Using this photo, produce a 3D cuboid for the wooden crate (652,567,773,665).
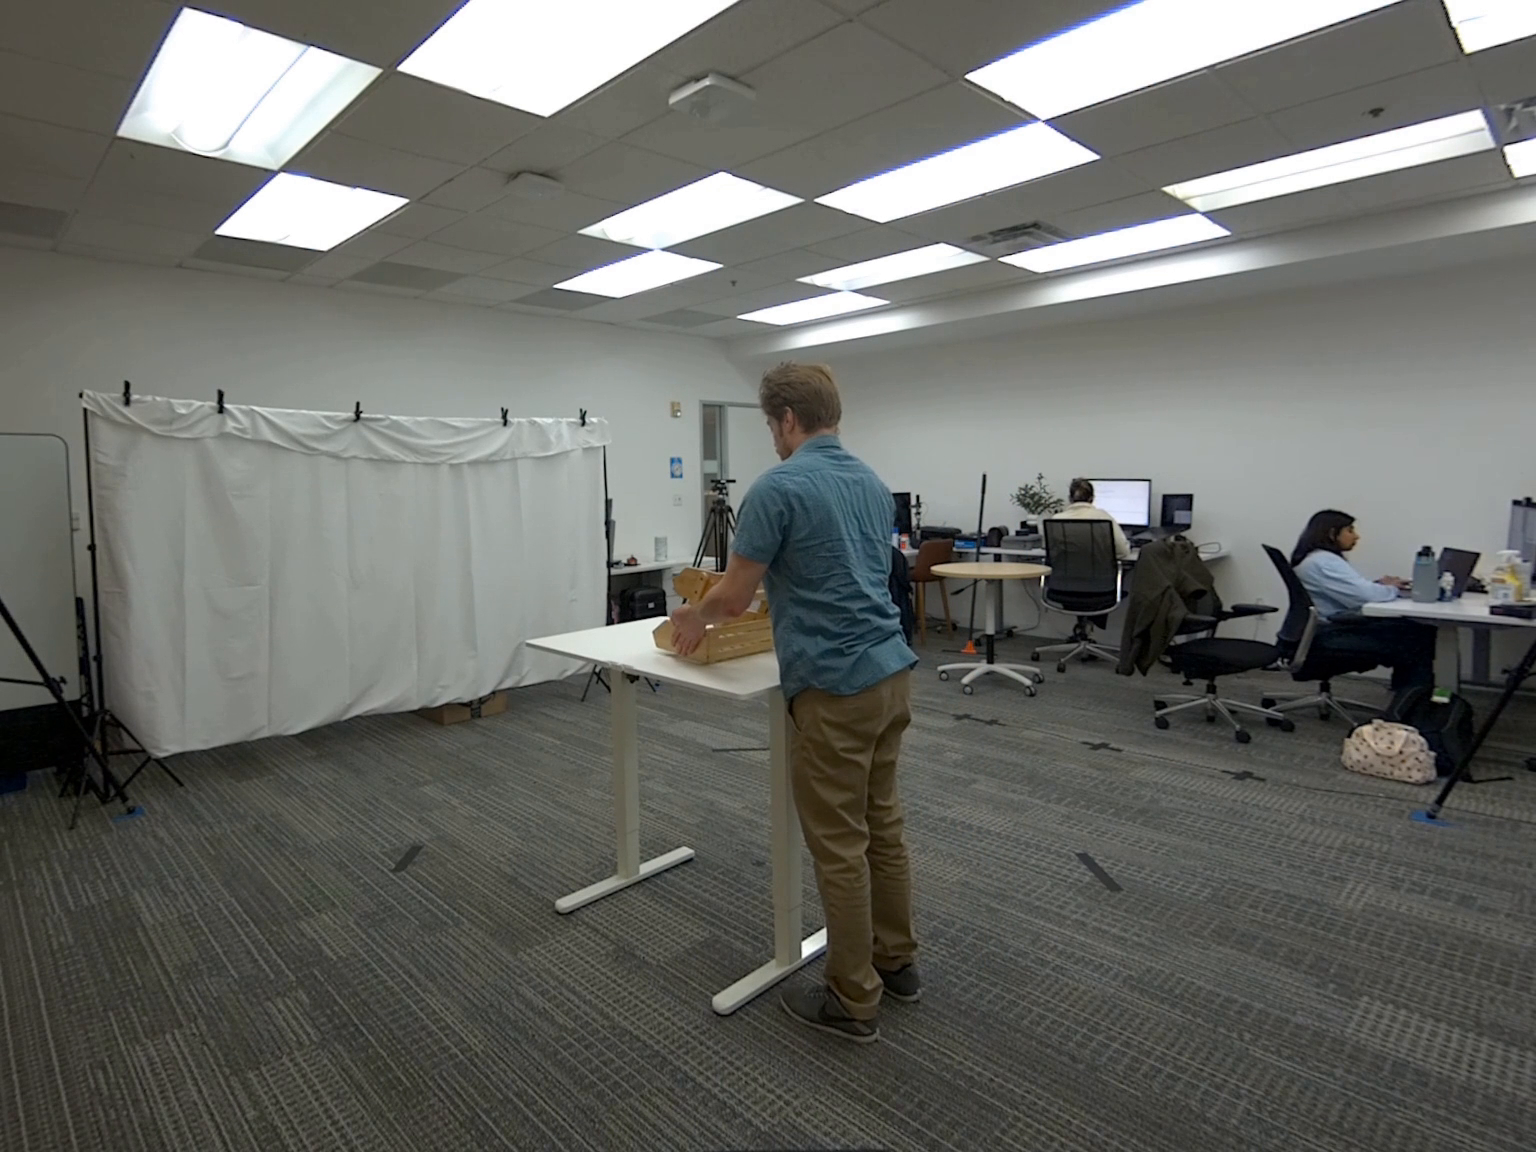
[{"bbox_3d":[-0.133,0.085,2.555,0.316,0.271,0.312,-6,11,-44],"label":"wooden crate"}]
